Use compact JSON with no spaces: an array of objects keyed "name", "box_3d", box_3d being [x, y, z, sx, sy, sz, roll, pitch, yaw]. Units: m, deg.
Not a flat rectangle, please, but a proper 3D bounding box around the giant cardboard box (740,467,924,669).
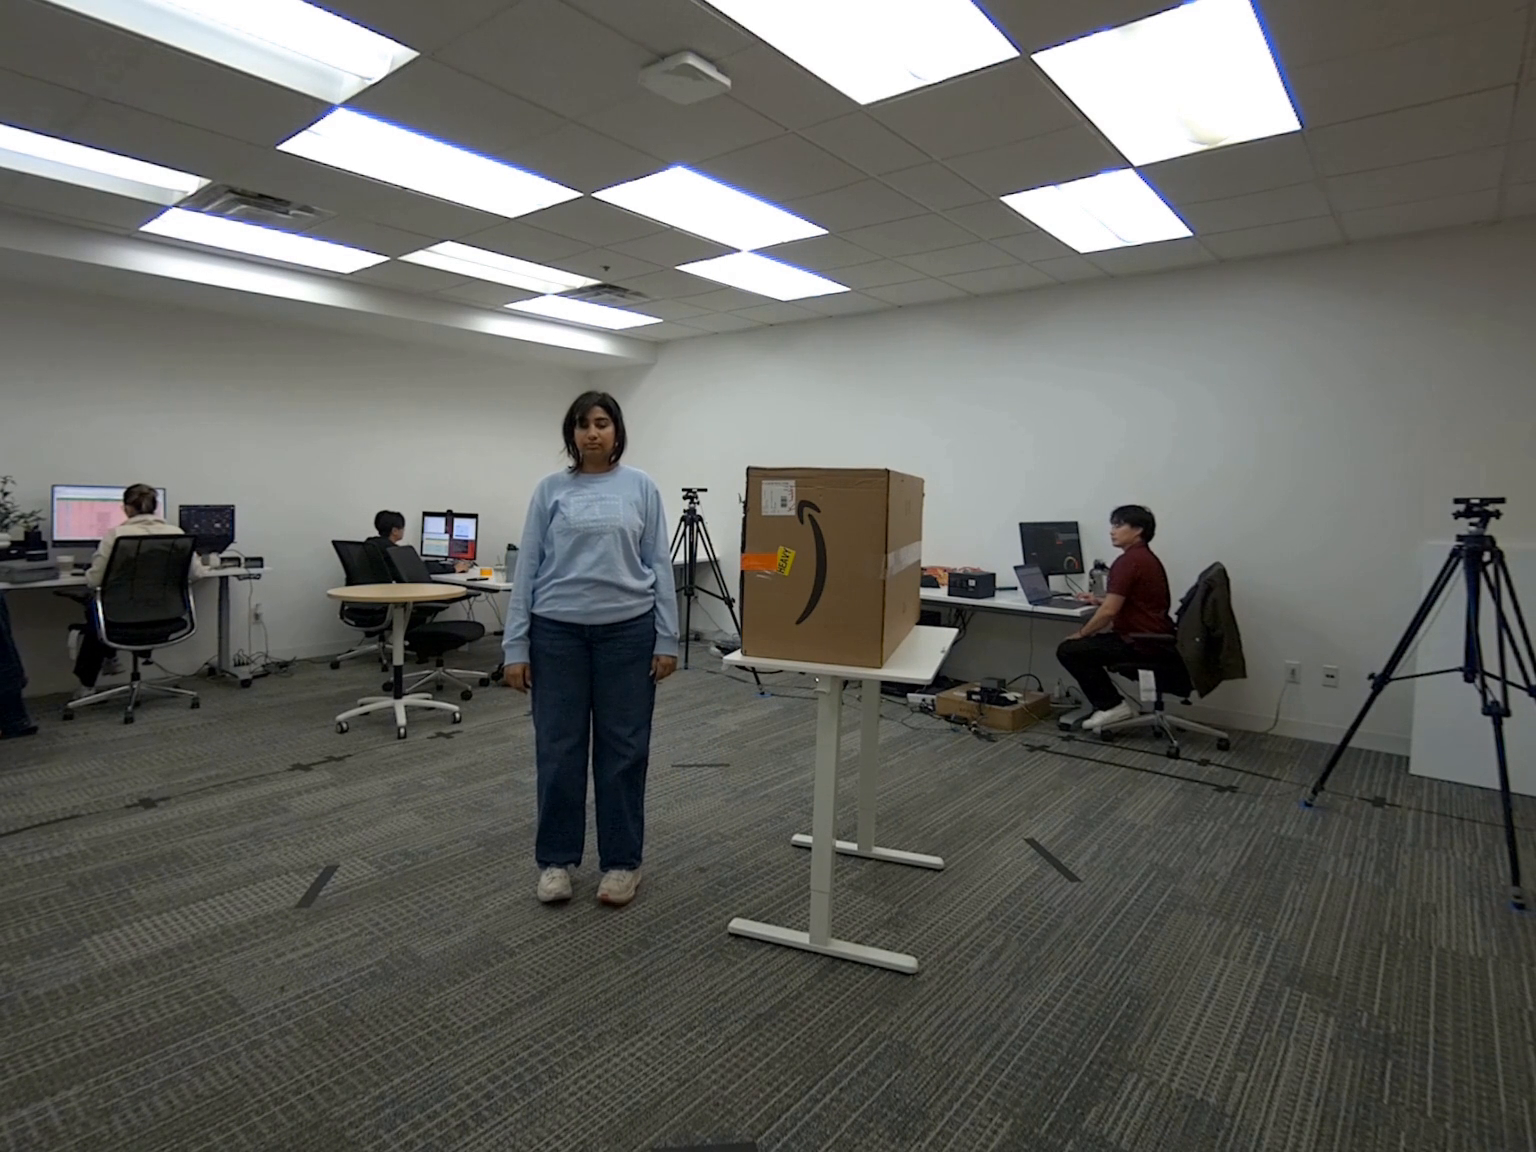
[{"name":"giant cardboard box","box_3d":[0.255,-0.074,2.960,0.434,0.575,1.010,2,5,16]}]
